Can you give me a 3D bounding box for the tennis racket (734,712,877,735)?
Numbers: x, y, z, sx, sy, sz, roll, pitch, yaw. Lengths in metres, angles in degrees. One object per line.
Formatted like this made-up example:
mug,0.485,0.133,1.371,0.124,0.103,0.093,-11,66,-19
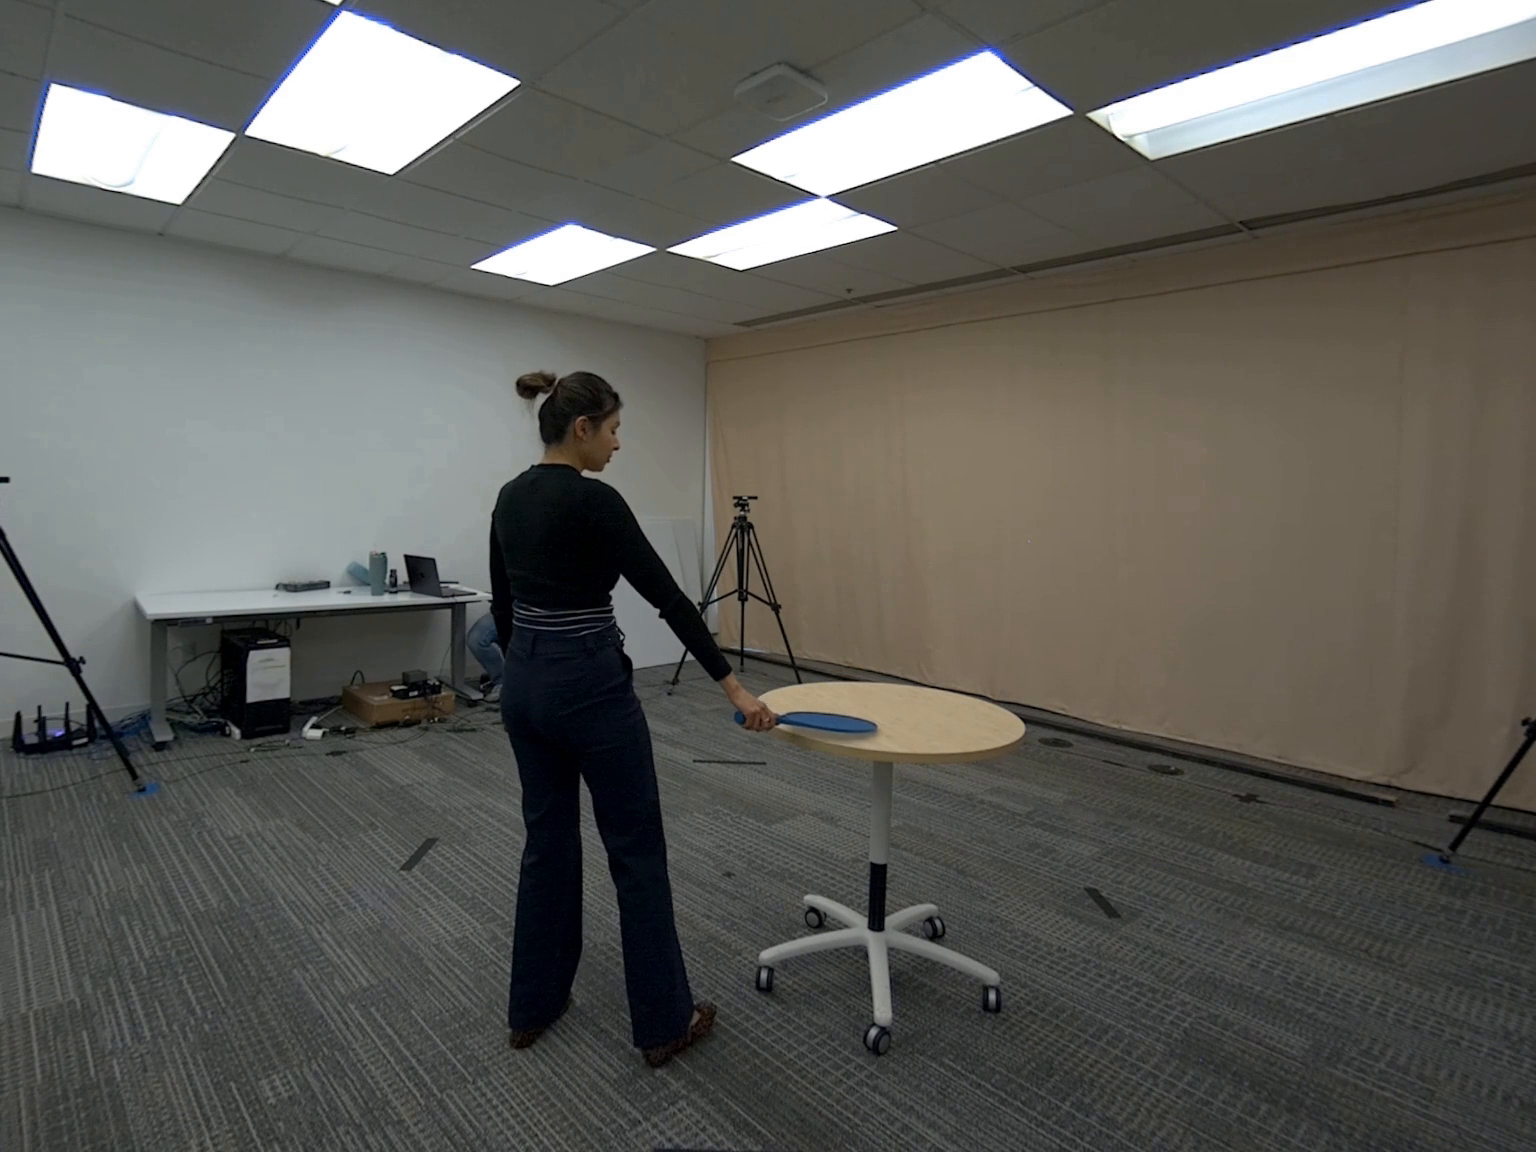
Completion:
tennis racket,0.096,0.376,2.199,0.424,0.032,0.218,7,0,-27
